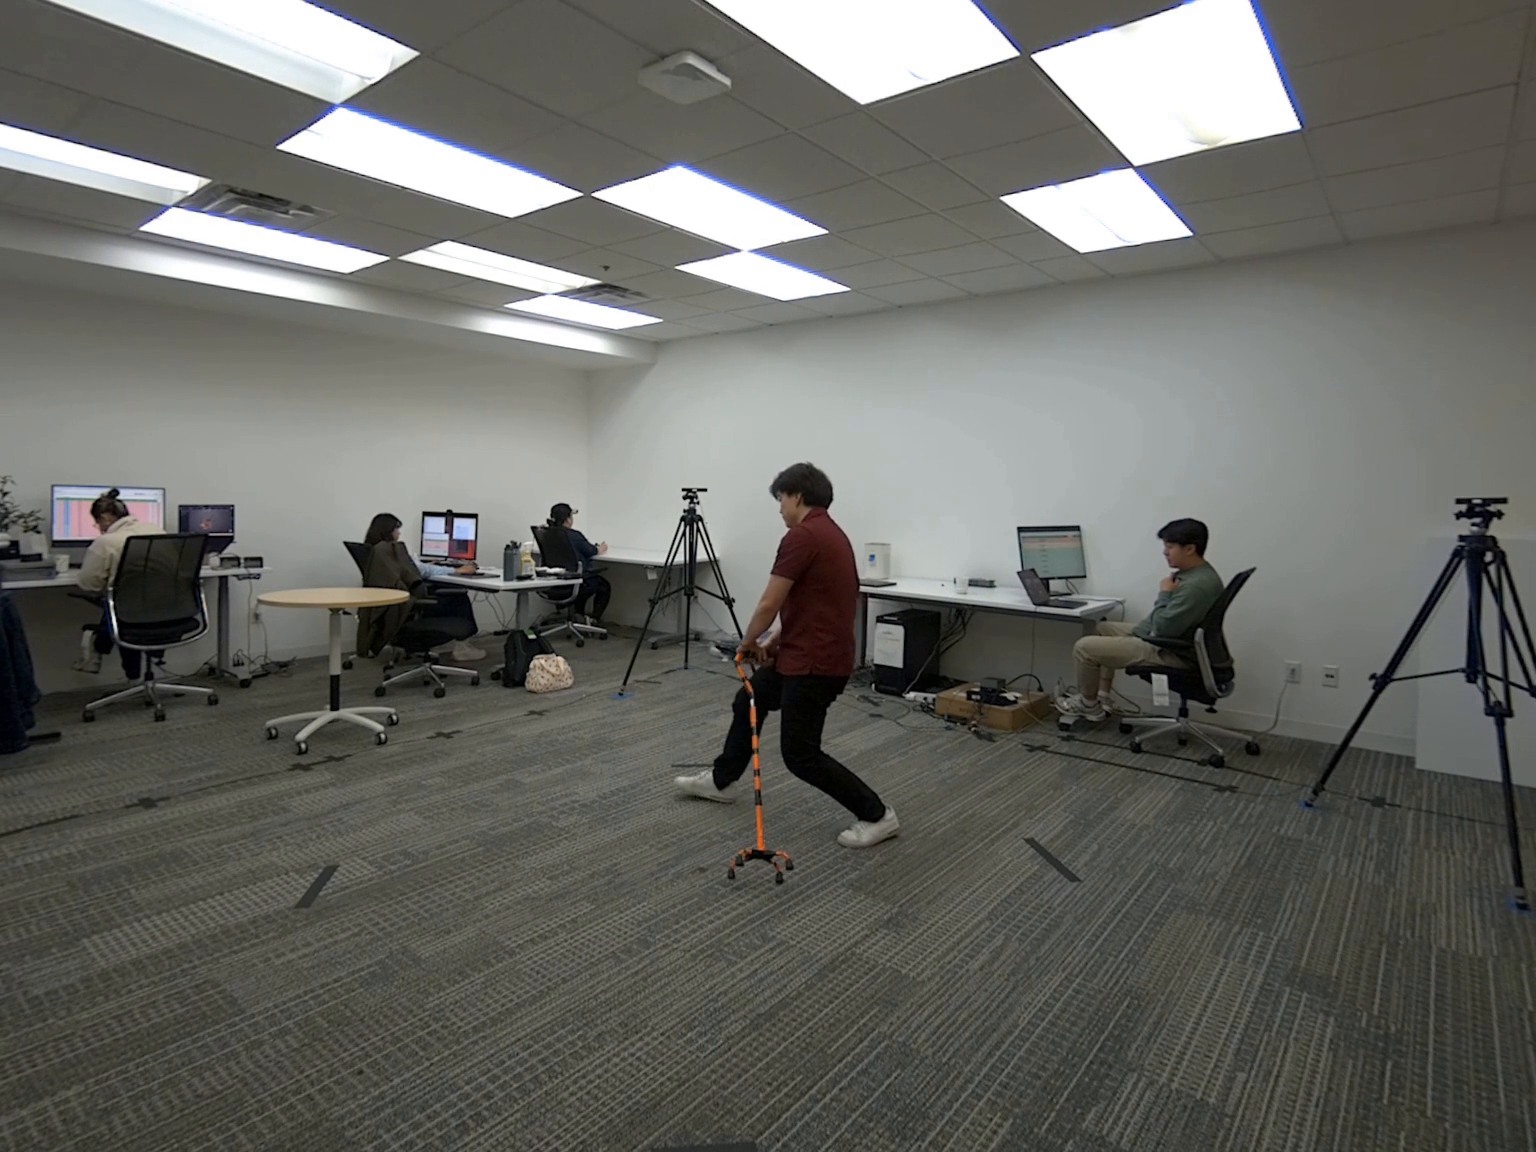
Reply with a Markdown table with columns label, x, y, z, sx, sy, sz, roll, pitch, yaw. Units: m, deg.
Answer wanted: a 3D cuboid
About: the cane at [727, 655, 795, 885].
| label | x | y | z | sx | sy | sz | roll | pitch | yaw |
| --- | --- | --- | --- | --- | --- | --- | --- | --- | --- |
| cane | -0.054 | 0.681 | 3.245 | 0.204 | 0.936 | 0.149 | 7 | -42 | -13 |
